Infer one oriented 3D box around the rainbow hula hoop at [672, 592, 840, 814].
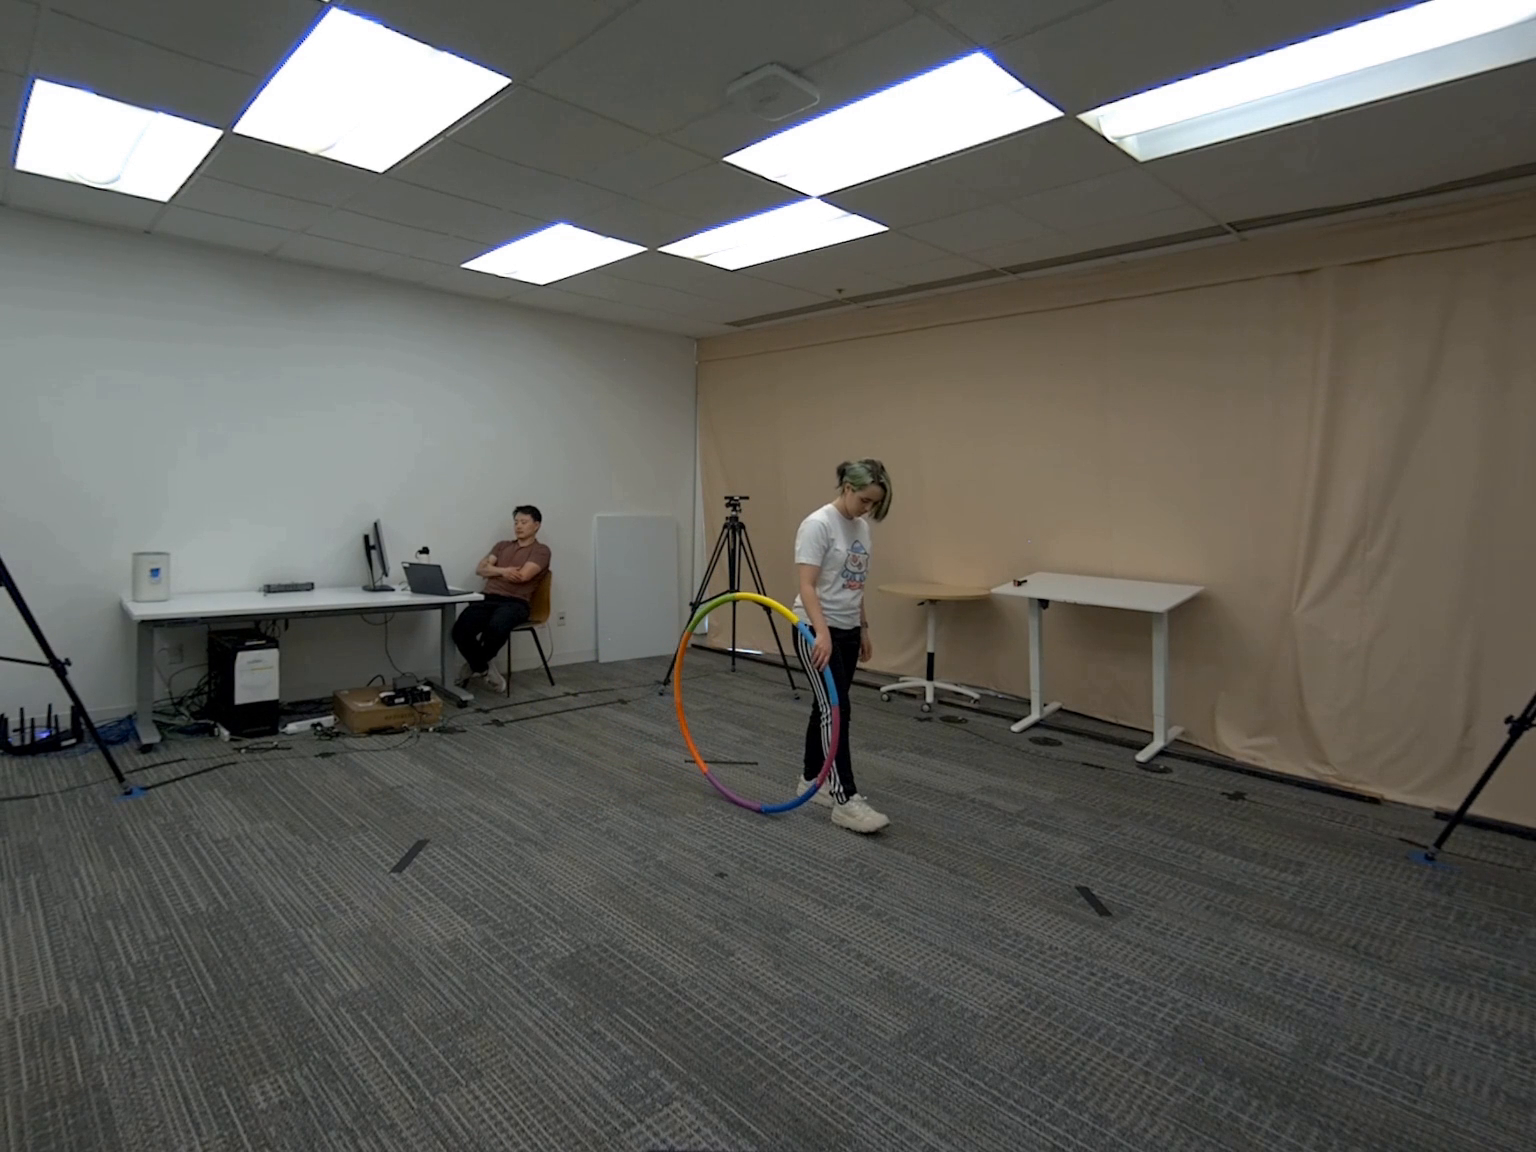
[{"bbox_3d":[-0.092,0.562,3.752,1.004,0.975,0.035,5,7,43],"label":"rainbow hula hoop"}]
